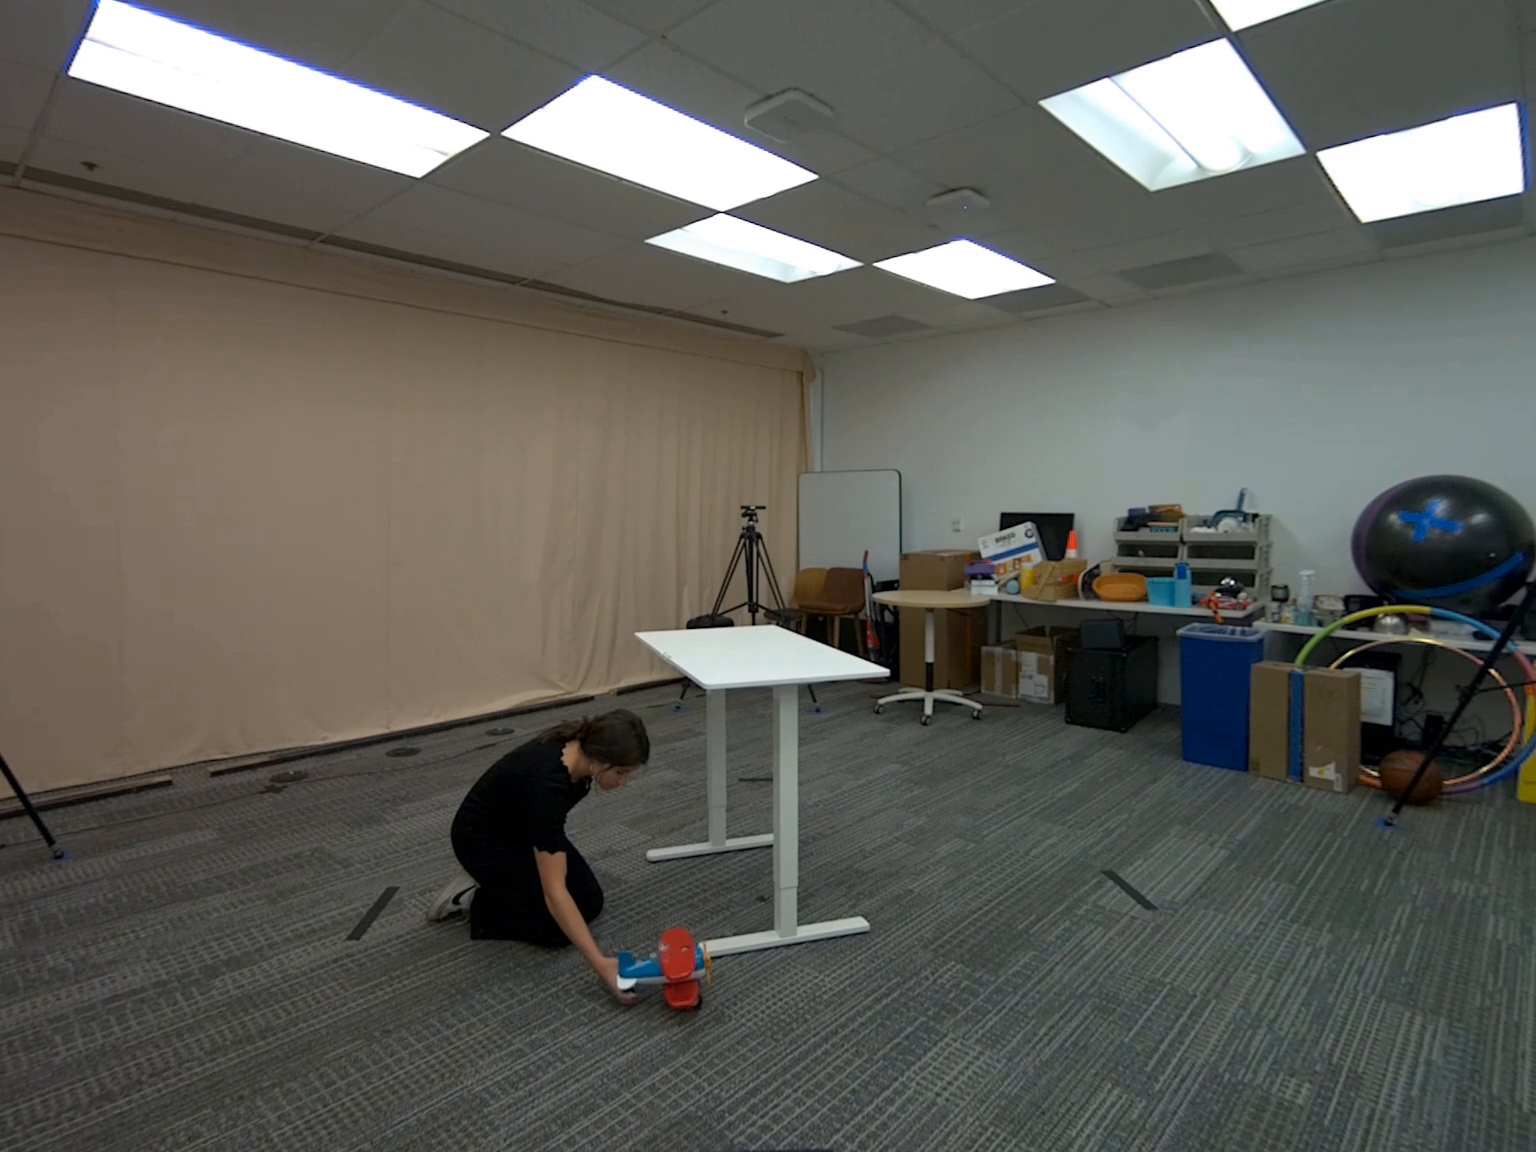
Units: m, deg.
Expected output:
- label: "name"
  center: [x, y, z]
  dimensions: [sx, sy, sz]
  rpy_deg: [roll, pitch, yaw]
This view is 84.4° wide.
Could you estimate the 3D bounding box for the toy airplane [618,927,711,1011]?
- label: "toy airplane"
  center: [-0.290, 1.112, 2.338]
  dimensions: [0.251, 0.156, 0.259]
  rpy_deg: [7, 3, -38]
